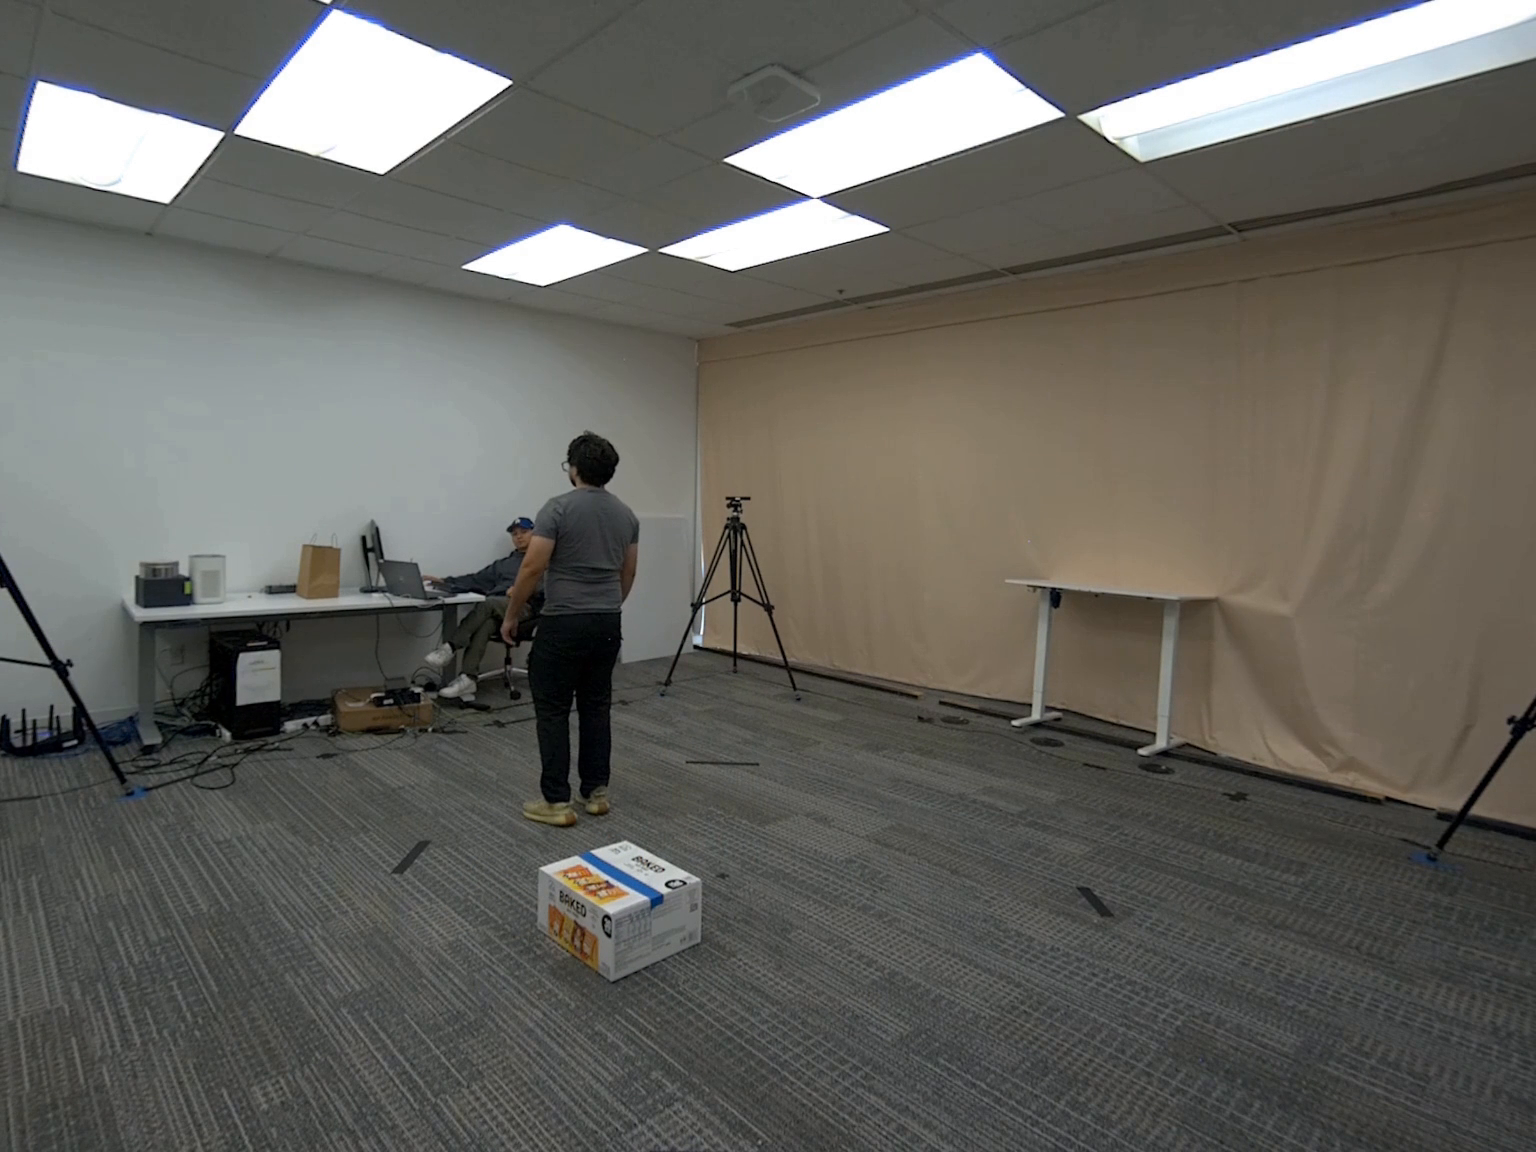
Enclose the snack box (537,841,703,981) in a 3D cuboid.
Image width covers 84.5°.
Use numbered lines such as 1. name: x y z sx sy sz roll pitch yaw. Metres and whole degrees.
1. snack box: -0.474 1.041 2.647 0.332 0.205 0.415 -3 6 -44
